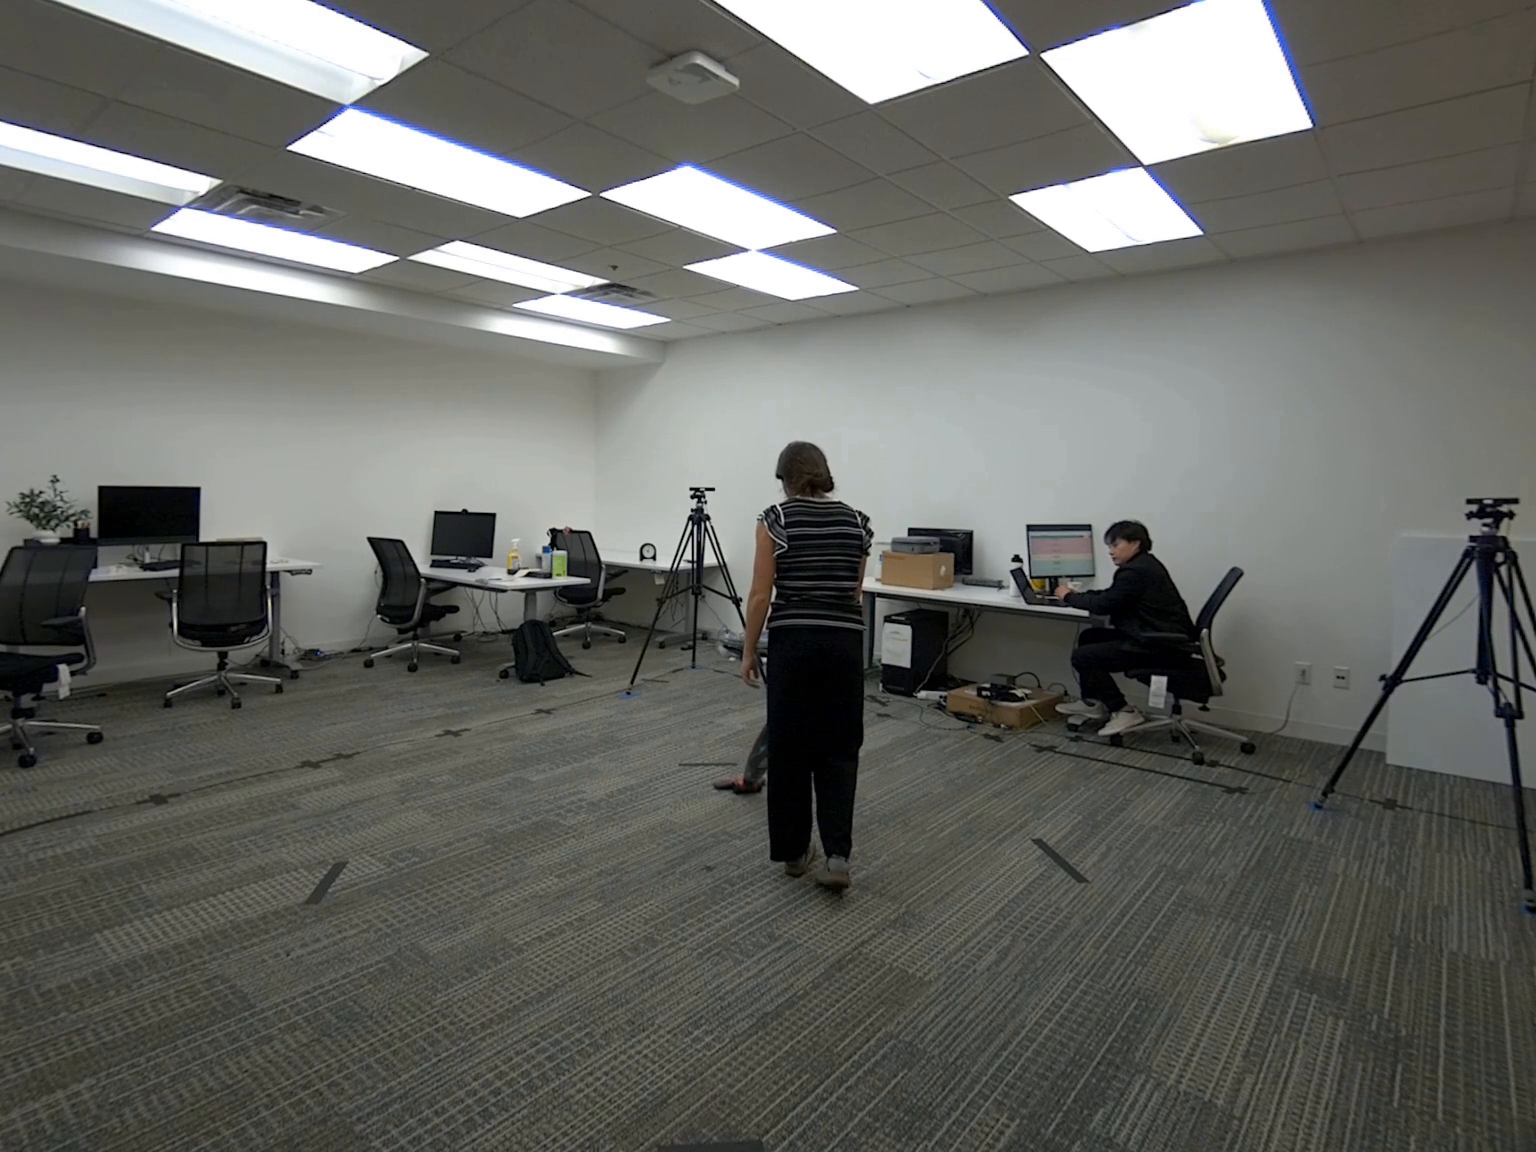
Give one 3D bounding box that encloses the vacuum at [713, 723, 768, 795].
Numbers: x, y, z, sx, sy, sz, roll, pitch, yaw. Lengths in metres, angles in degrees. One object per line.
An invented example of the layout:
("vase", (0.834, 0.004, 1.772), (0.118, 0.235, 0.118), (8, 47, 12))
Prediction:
("vacuum", (0.022, 0.645, 3.592), (0.247, 0.149, 1.034), (-6, -36, -25))
